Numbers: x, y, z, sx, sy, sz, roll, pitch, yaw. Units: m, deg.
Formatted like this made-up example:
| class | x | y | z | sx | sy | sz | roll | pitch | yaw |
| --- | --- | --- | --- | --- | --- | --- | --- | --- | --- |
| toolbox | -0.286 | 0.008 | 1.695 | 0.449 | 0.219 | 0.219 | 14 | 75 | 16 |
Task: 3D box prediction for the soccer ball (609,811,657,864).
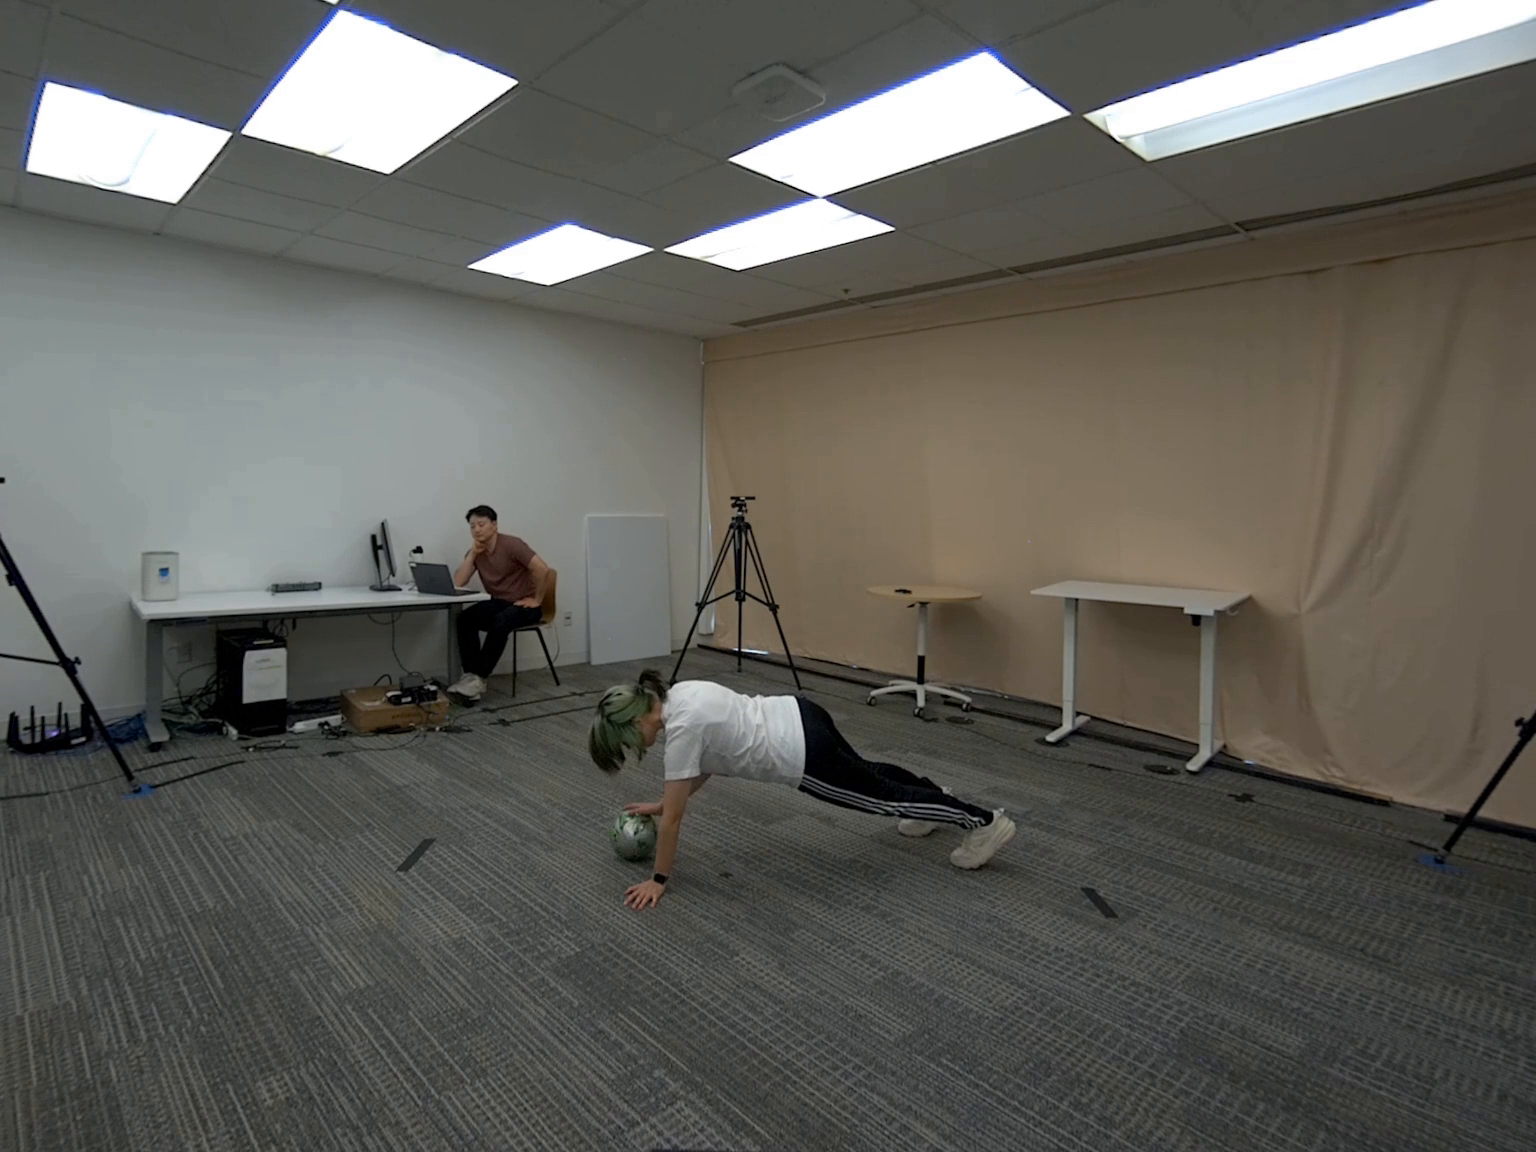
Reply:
| class | x | y | z | sx | sy | sz | roll | pitch | yaw |
| --- | --- | --- | --- | --- | --- | --- | --- | --- | --- |
| soccer ball | -0.516 | 0.987 | 3.231 | 0.187 | 0.187 | 0.188 | 1 | 4 | -1 |
